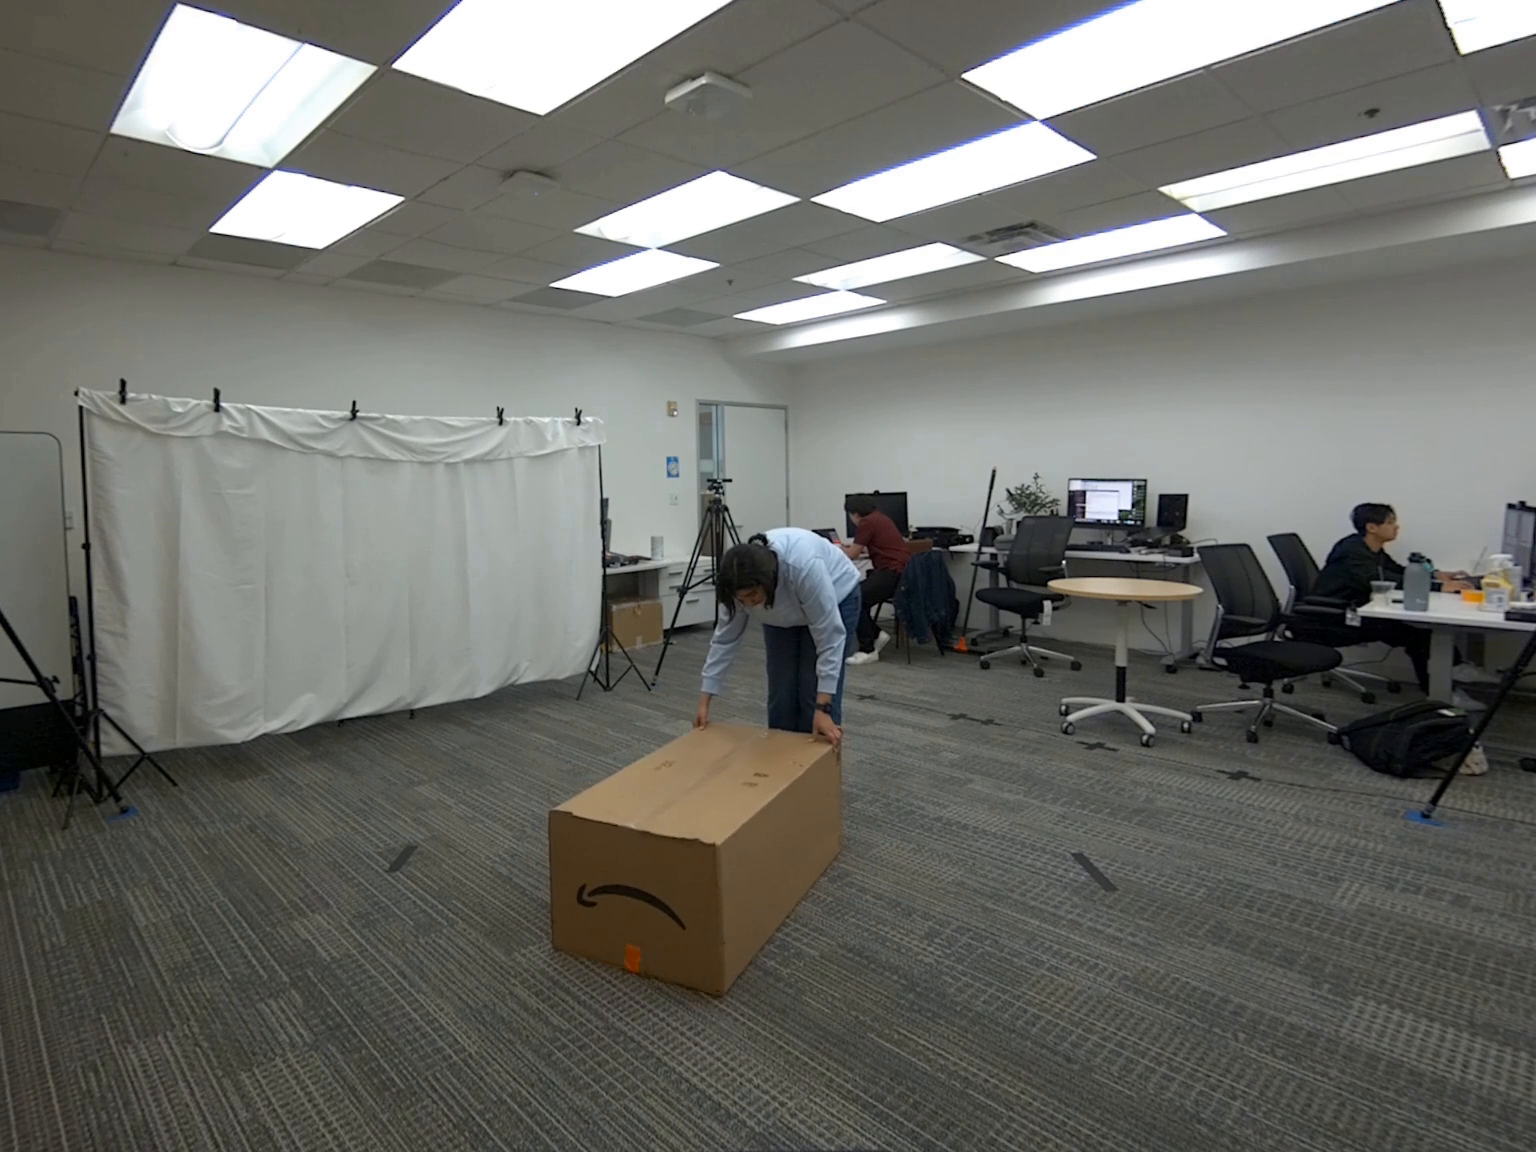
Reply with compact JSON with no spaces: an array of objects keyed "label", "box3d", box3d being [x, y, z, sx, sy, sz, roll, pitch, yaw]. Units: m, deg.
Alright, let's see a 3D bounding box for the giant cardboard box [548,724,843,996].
[{"label":"giant cardboard box","box3d":[-0.189,0.863,2.869,0.591,0.424,1.007,2,6,25]}]
